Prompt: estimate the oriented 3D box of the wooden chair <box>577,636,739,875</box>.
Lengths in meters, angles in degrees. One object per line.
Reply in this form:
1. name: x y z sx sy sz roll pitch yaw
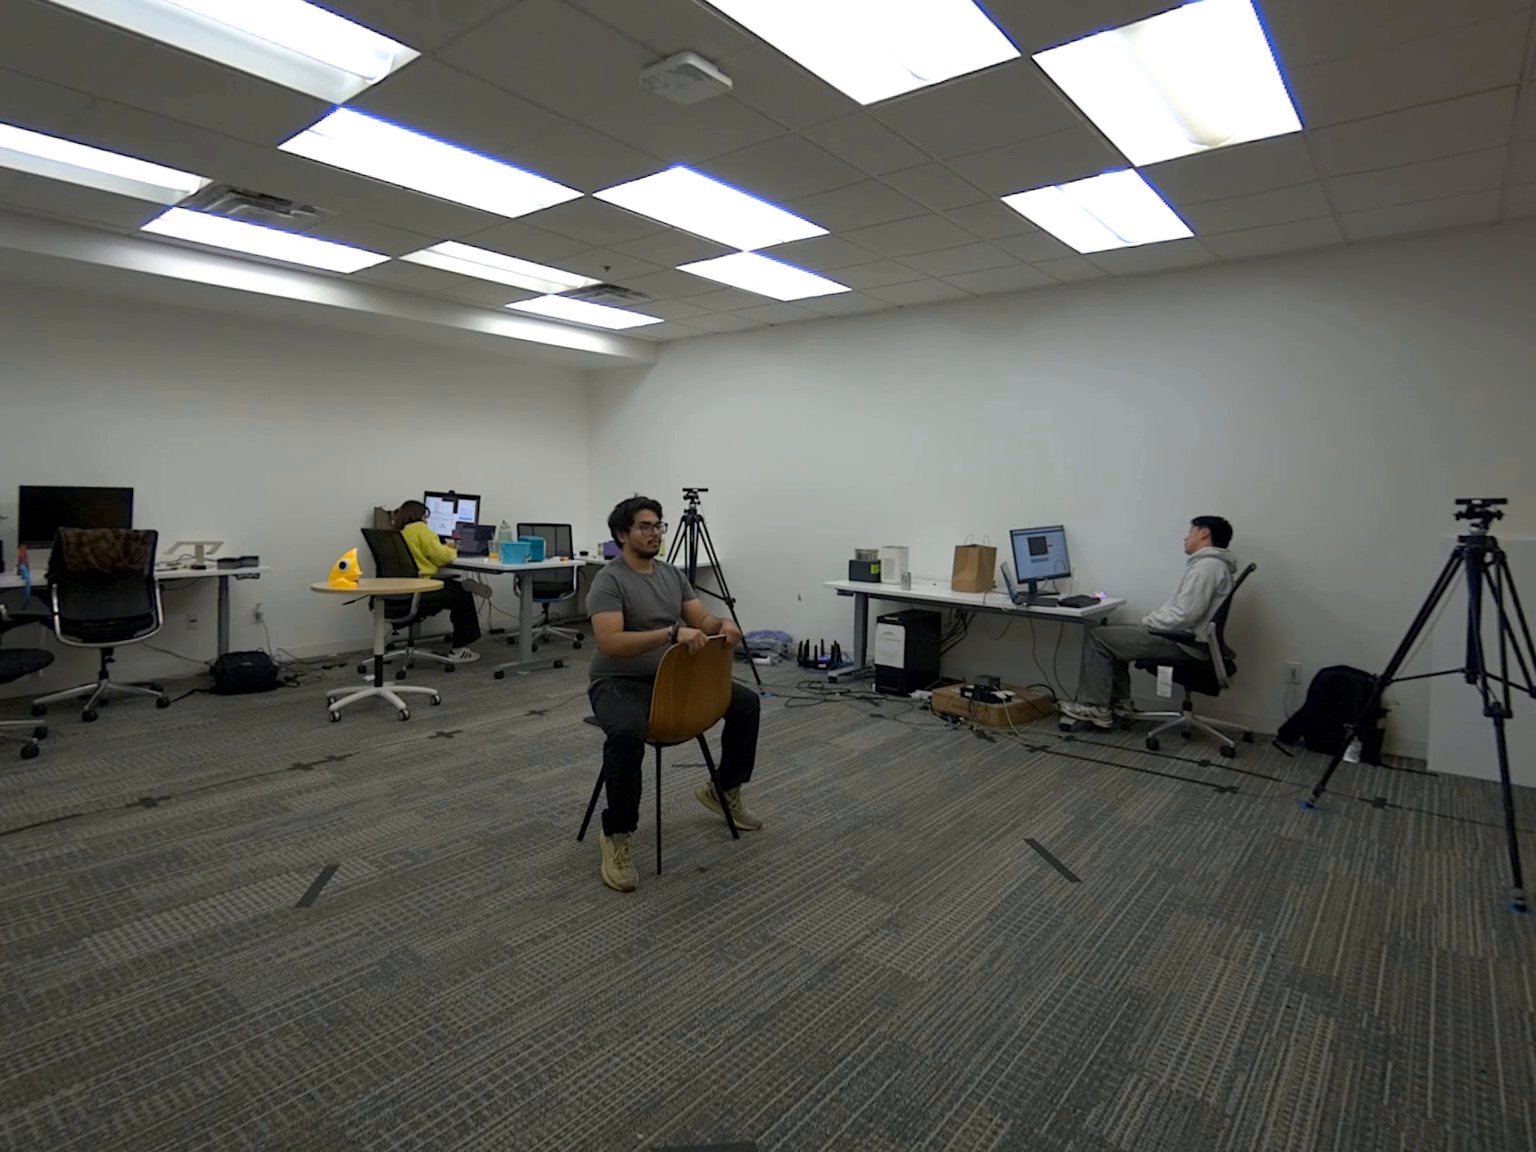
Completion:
1. wooden chair: -0.444 0.618 3.350 0.542 0.873 0.464 9 8 39
